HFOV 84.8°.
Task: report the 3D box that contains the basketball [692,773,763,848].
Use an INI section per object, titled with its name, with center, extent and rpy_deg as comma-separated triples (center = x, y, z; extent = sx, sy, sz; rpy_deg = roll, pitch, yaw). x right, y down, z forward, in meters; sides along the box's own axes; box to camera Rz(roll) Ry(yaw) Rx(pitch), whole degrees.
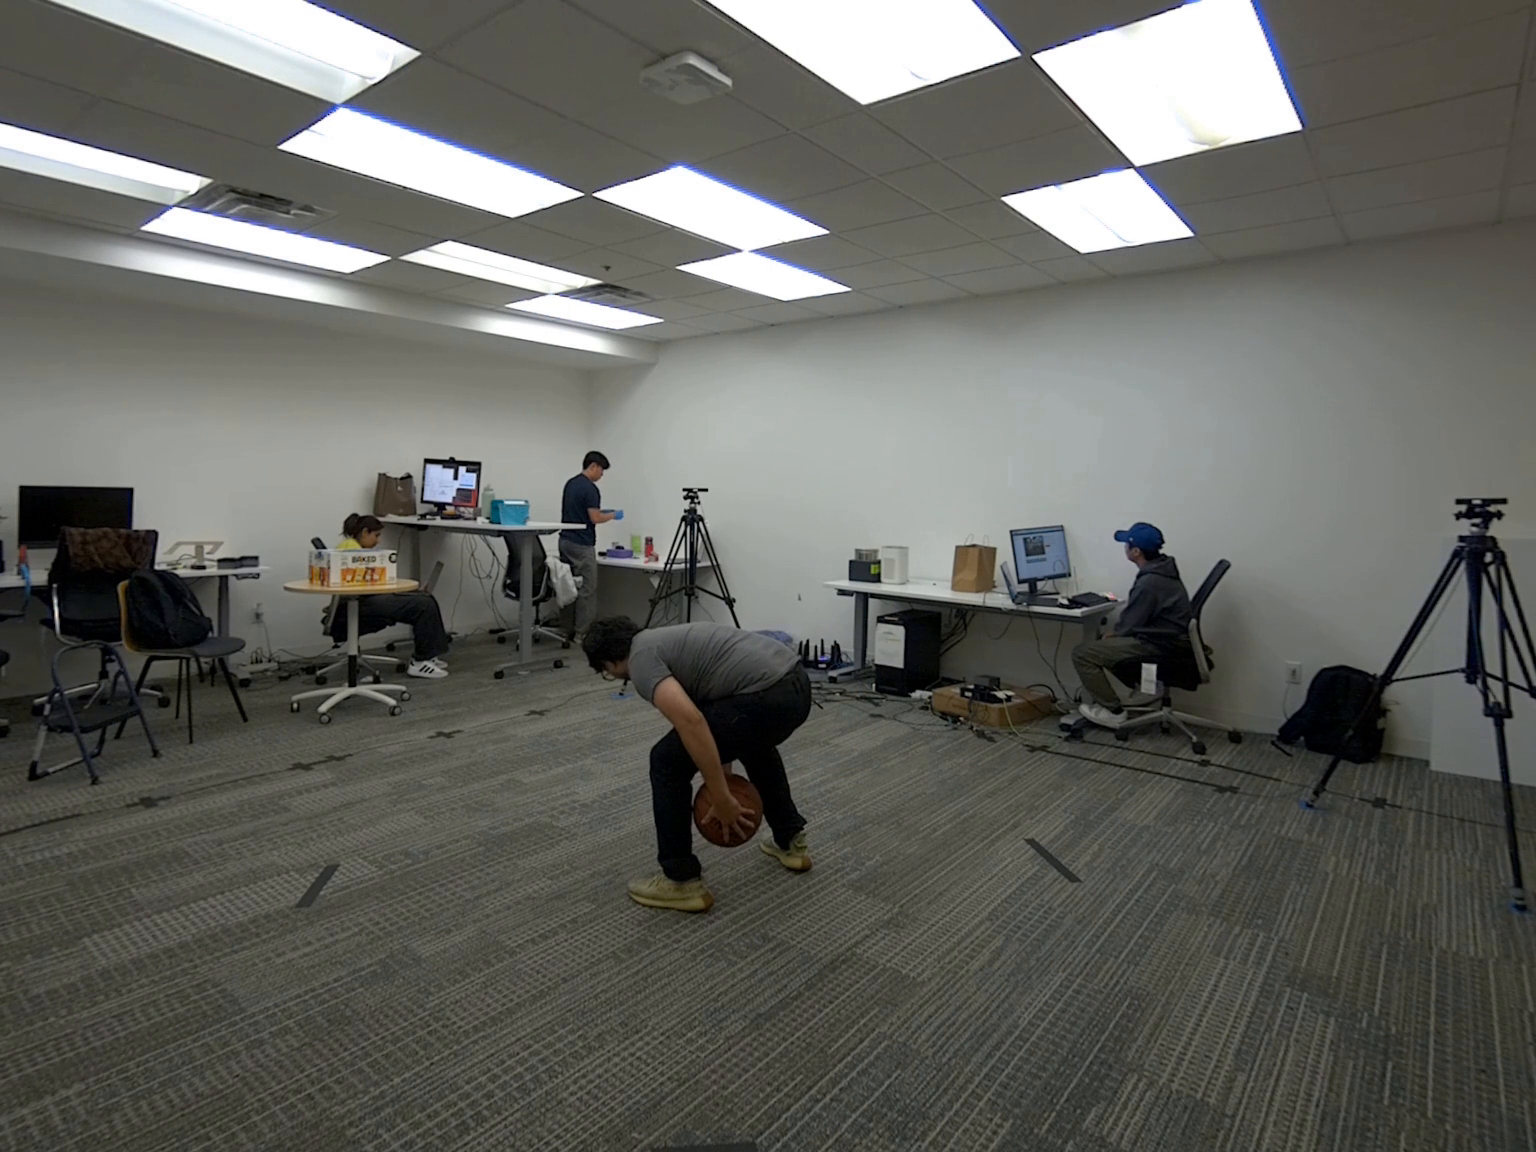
[basketball]
center = -0.149, 0.788, 2.869
extent = 0.235, 0.235, 0.237
rpy_deg = 1, 4, -2
